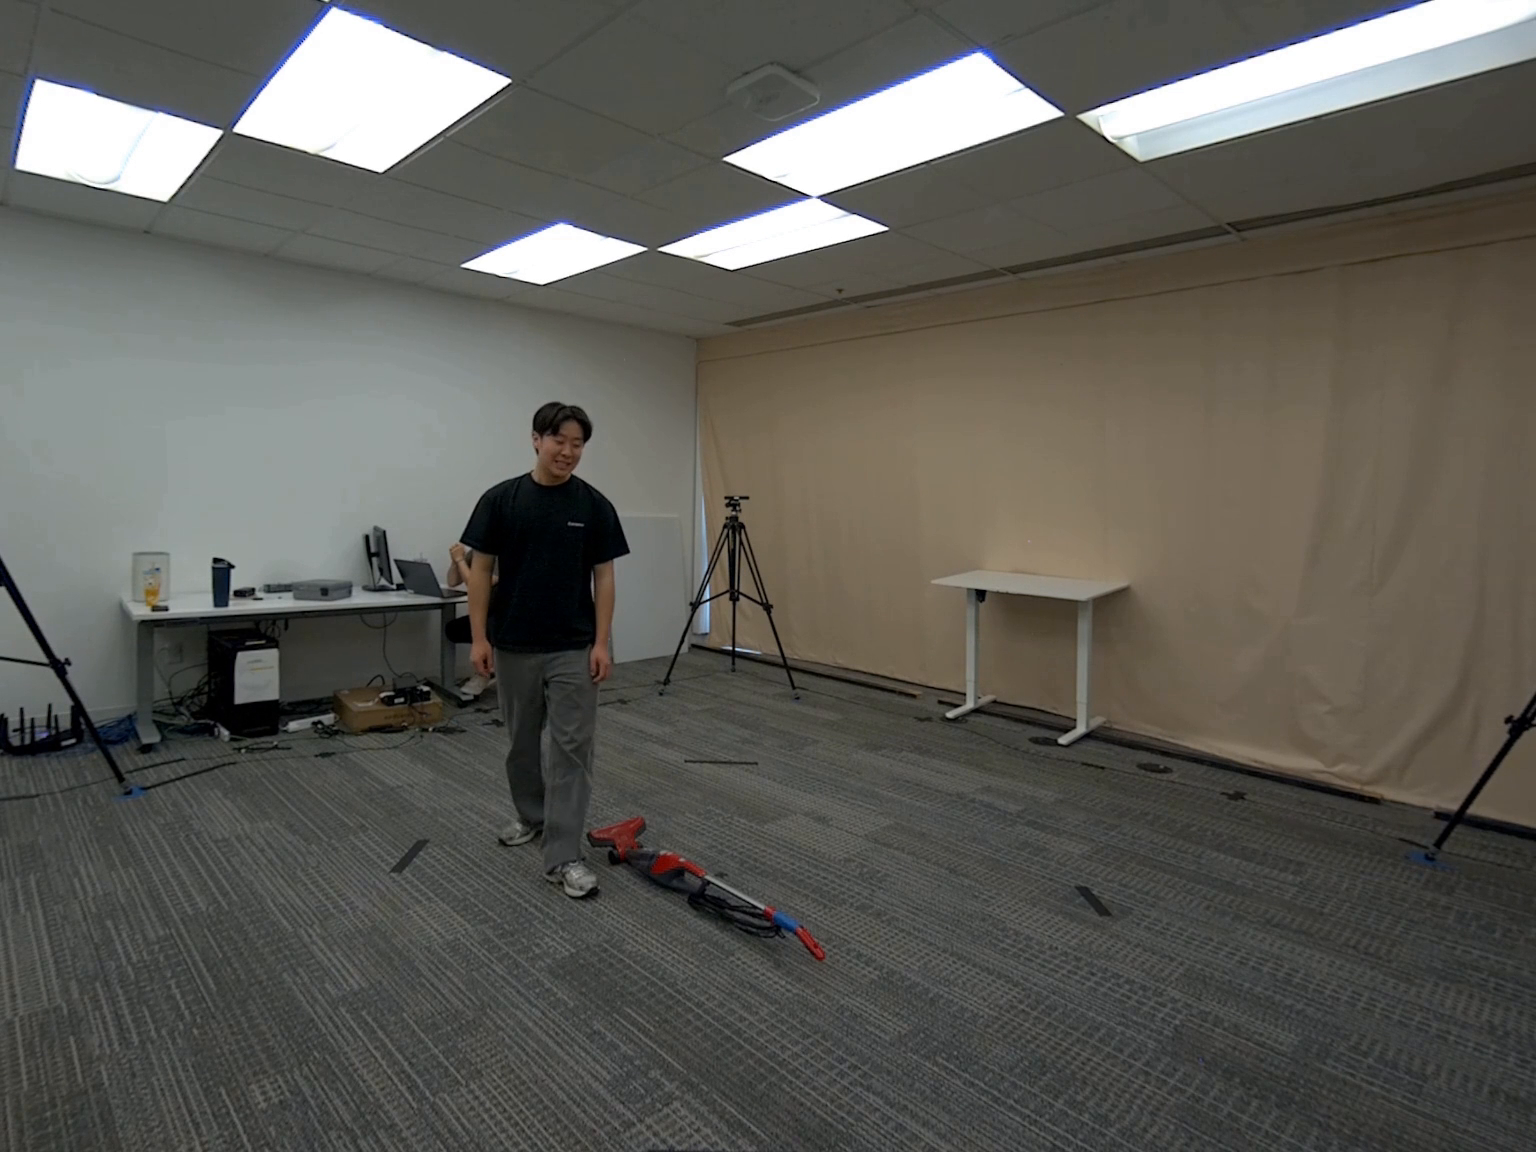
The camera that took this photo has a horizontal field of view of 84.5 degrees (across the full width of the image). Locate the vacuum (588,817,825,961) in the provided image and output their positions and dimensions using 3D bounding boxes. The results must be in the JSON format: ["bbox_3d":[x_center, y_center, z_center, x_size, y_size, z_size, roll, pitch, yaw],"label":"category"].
[{"bbox_3d":[-0.210,1.075,2.834,0.247,0.143,1.077,-6,9,-42],"label":"vacuum"}]
